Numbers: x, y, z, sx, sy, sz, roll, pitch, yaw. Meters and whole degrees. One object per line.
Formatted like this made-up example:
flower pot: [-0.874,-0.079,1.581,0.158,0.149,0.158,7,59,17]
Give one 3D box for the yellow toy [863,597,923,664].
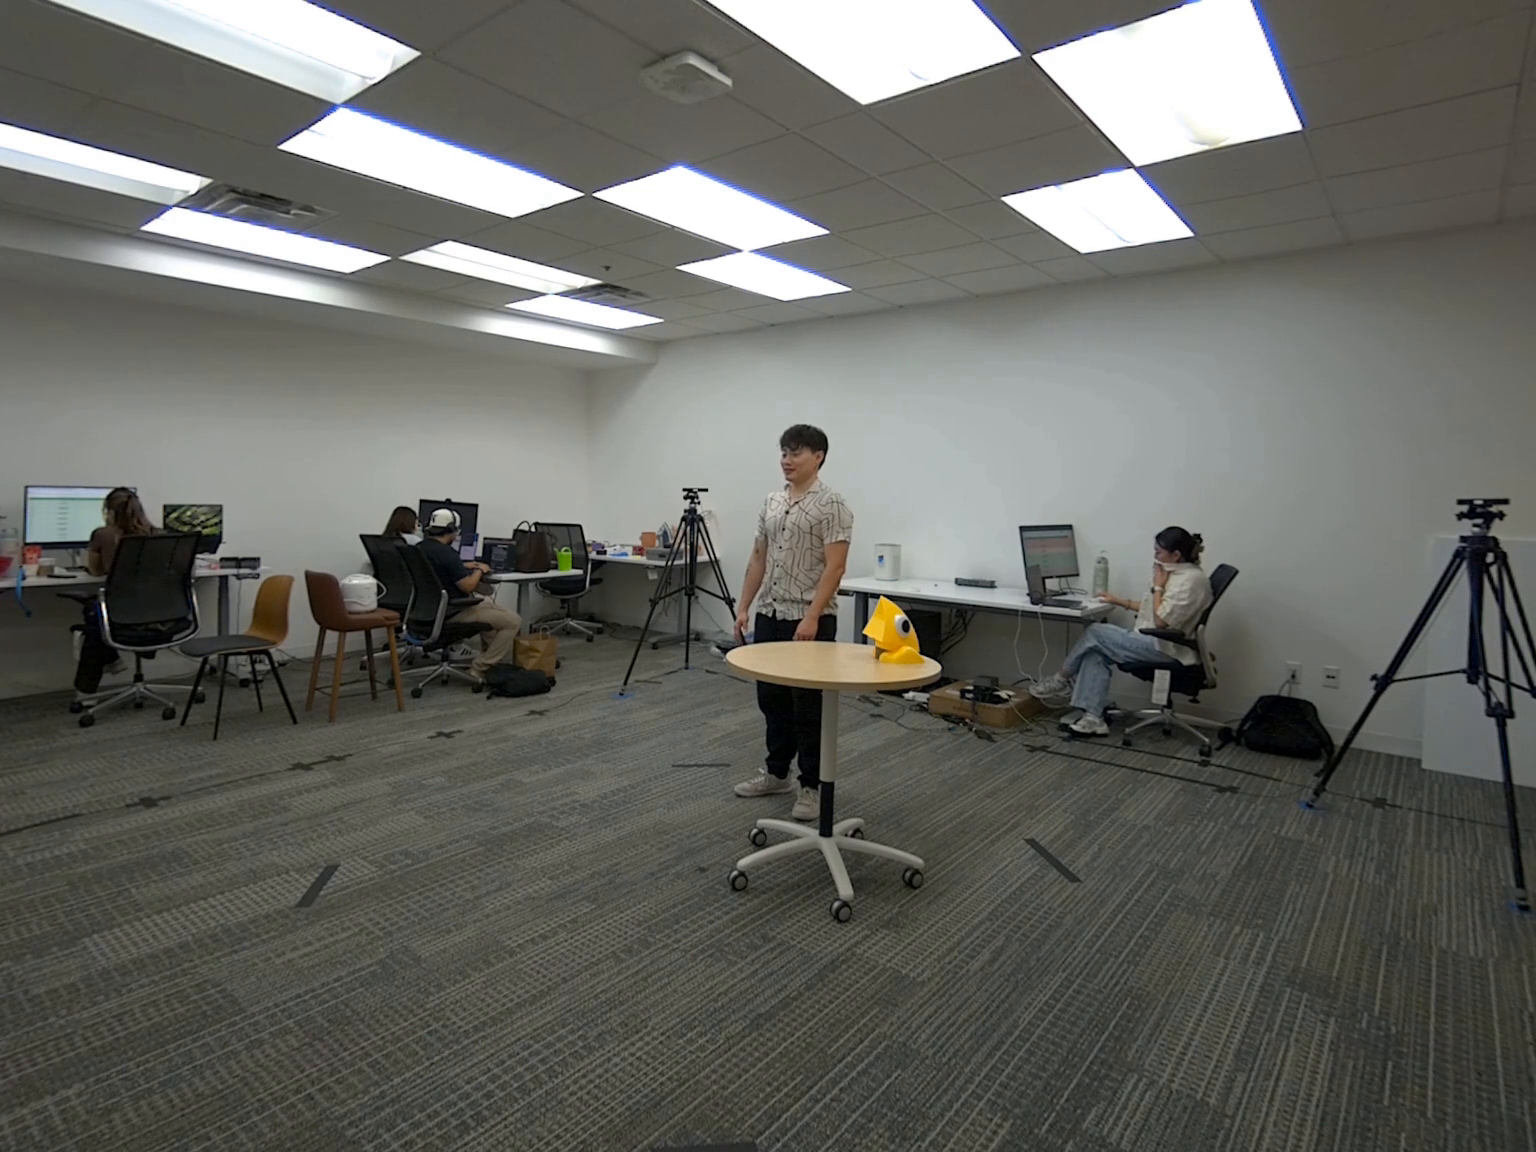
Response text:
yellow toy: [0.457,0.179,3.124,0.191,0.230,0.208,-3,4,-12]
